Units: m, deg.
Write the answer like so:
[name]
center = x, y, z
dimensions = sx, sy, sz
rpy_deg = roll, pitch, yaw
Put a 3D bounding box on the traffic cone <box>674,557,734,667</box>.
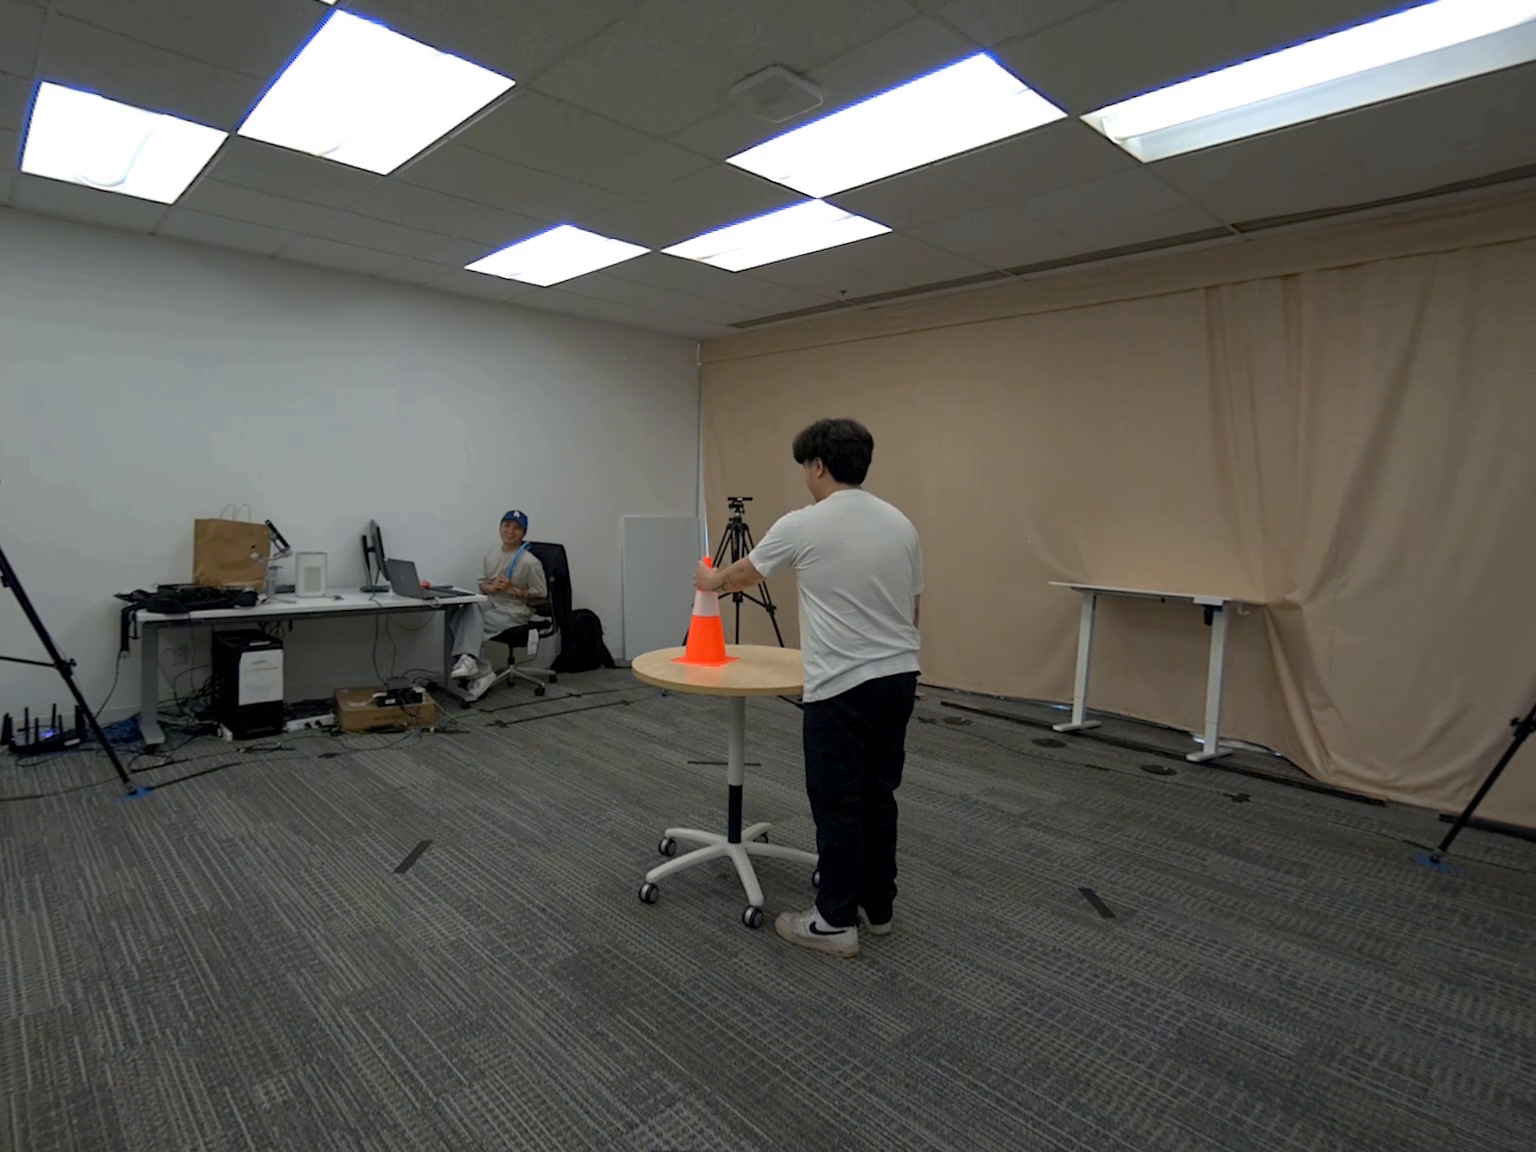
[traffic cone]
center = -0.231, 0.124, 3.088
dimensions = 0.207, 0.383, 0.201
rpy_deg = 4, 3, 23
